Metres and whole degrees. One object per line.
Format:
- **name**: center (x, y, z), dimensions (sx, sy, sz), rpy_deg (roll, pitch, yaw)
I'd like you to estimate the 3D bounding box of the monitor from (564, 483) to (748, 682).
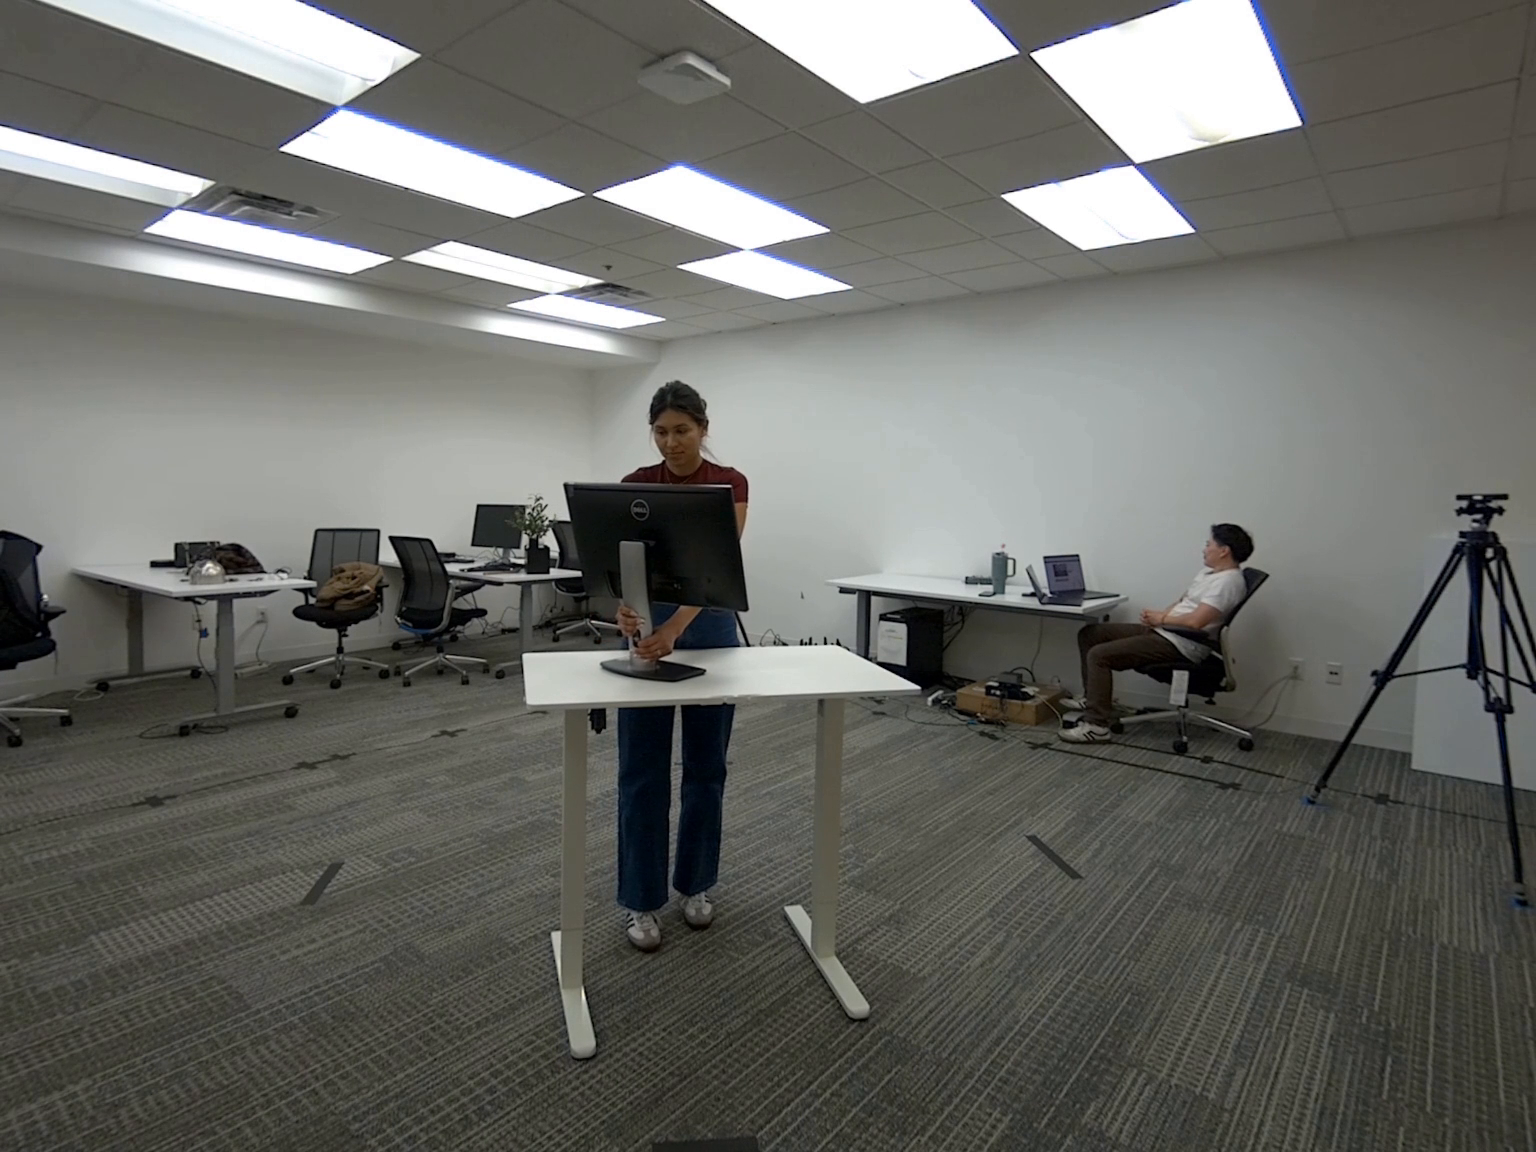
- **monitor**: center (-0.347, 0.006, 2.315), dimensions (0.553, 0.519, 0.183), rpy_deg (3, 7, 26)
